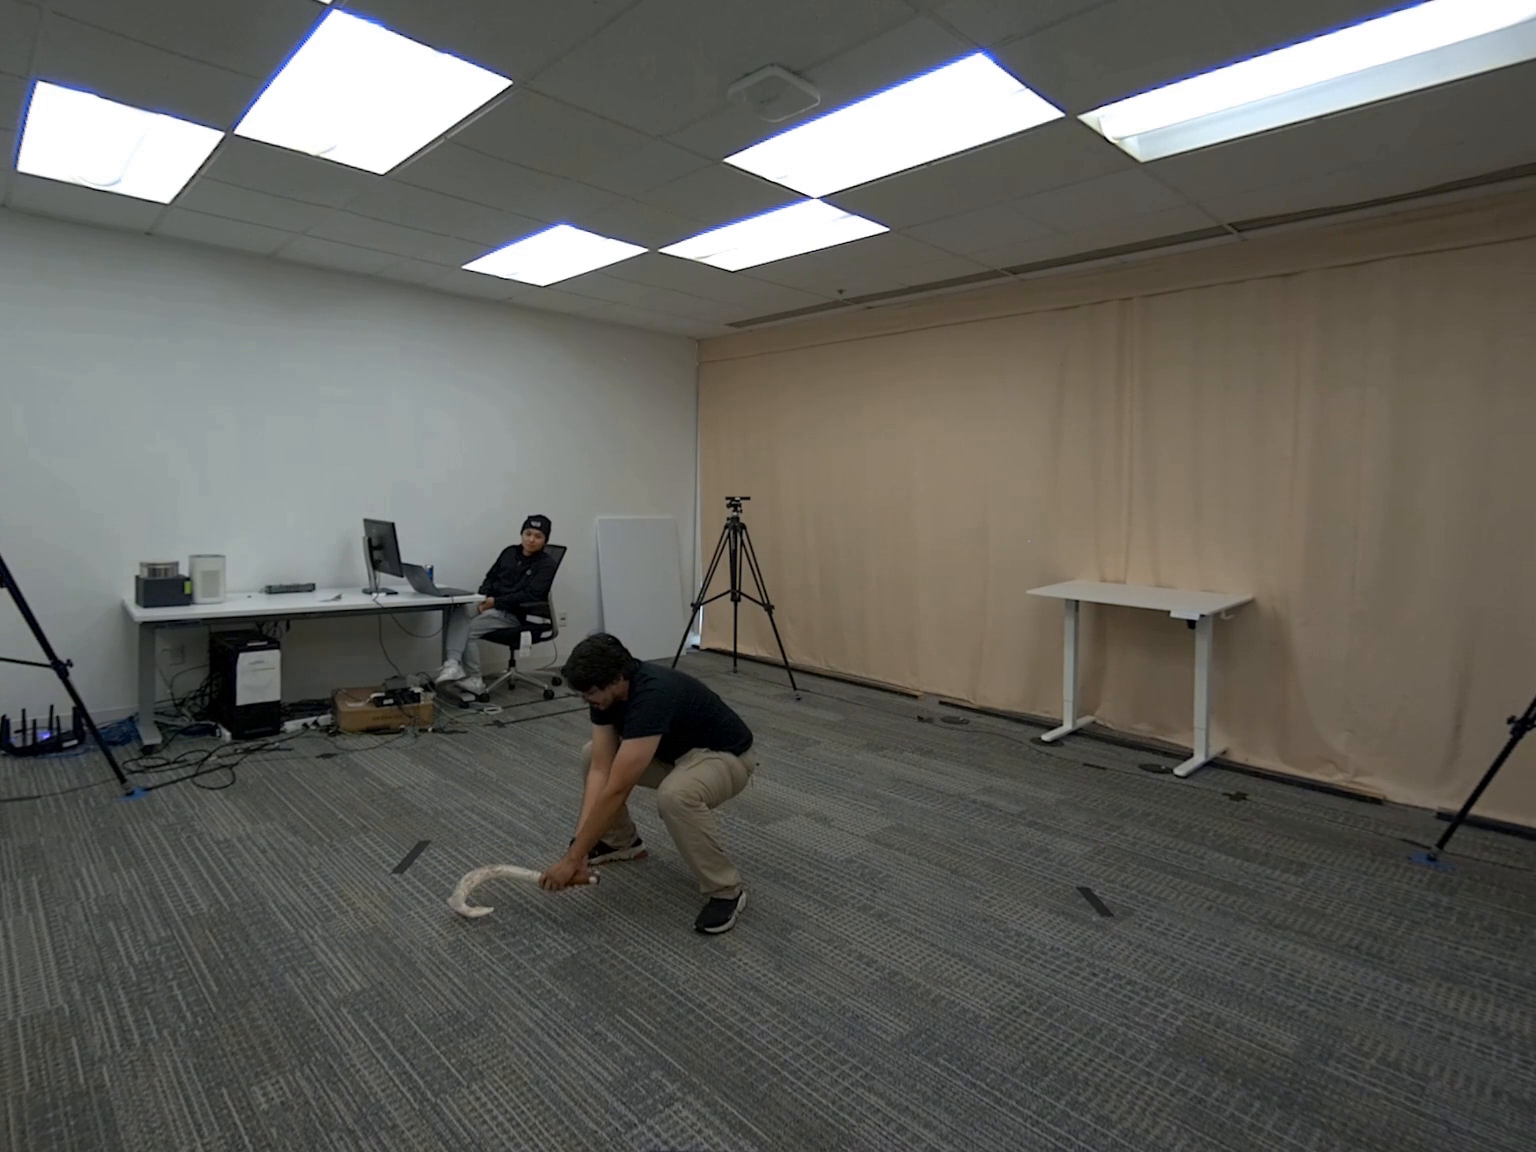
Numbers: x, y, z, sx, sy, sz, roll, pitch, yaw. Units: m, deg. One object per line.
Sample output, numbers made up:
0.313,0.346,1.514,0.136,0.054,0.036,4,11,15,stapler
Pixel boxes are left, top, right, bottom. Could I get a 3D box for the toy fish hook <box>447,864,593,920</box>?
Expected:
-0.808,1.030,2.700,0.512,0.047,0.226,-7,24,16,toy fish hook
